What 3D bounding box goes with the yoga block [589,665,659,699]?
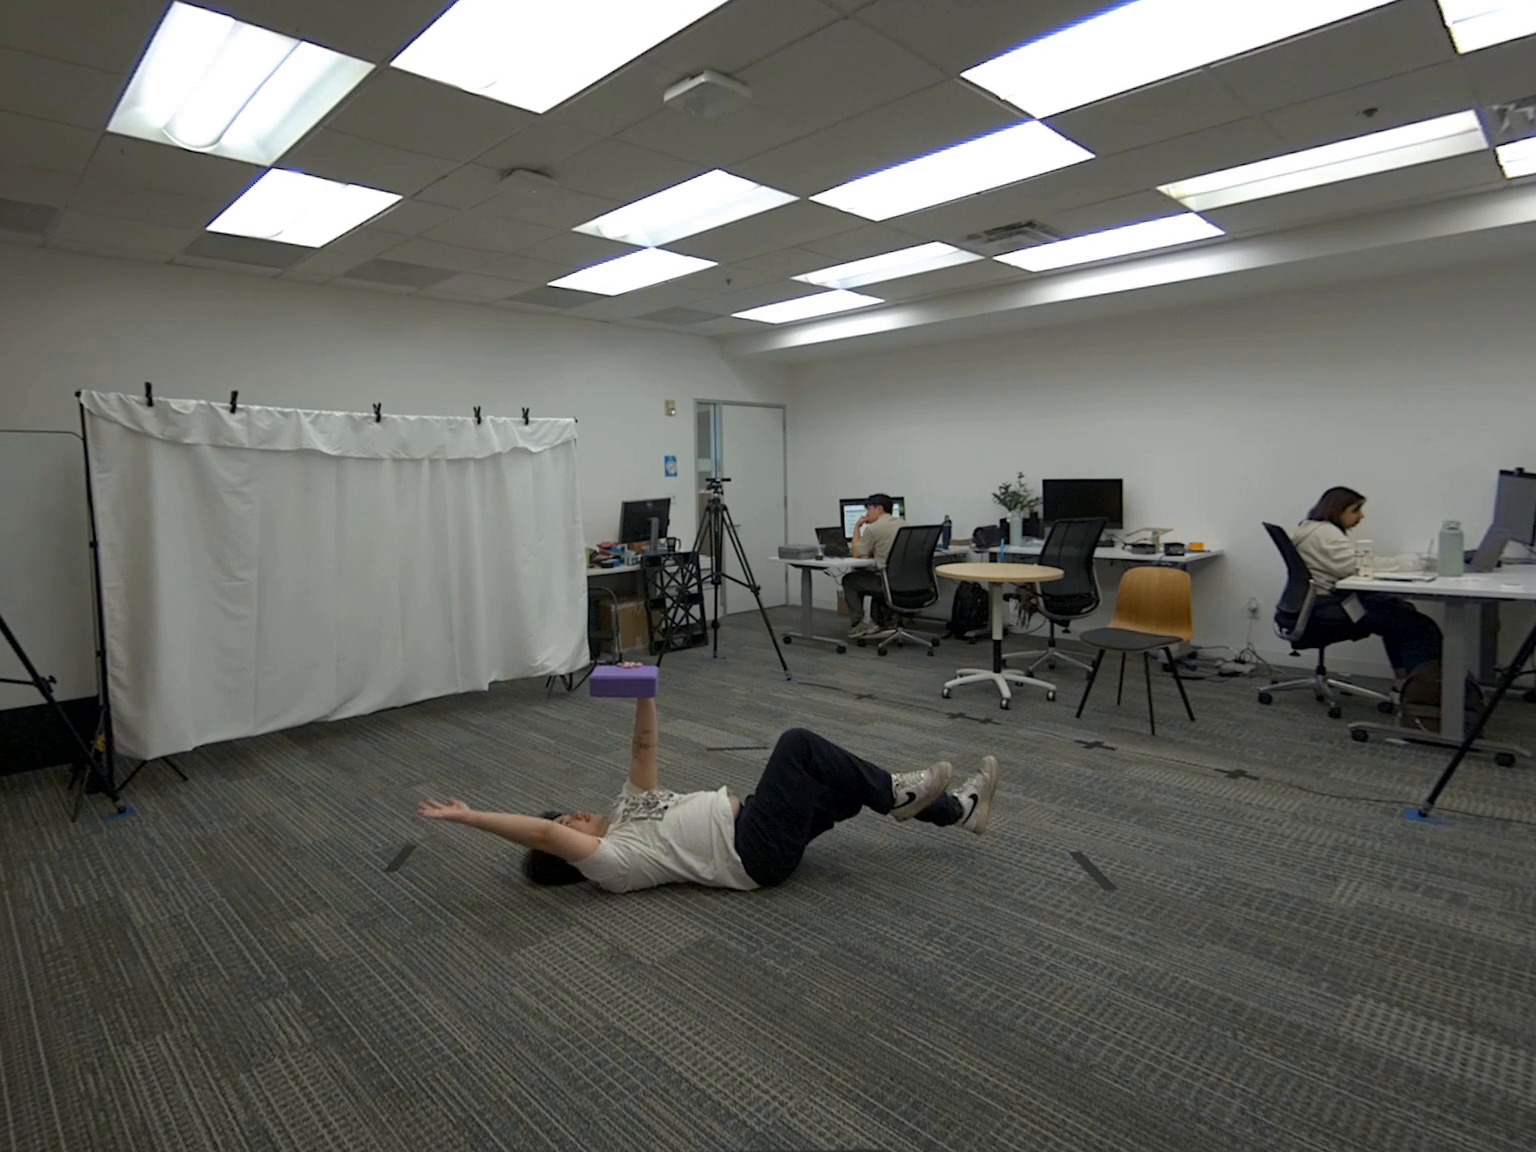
[{"bbox_3d":[-0.510,0.369,3.011,0.229,0.076,0.150,2,8,0],"label":"yoga block"}]
